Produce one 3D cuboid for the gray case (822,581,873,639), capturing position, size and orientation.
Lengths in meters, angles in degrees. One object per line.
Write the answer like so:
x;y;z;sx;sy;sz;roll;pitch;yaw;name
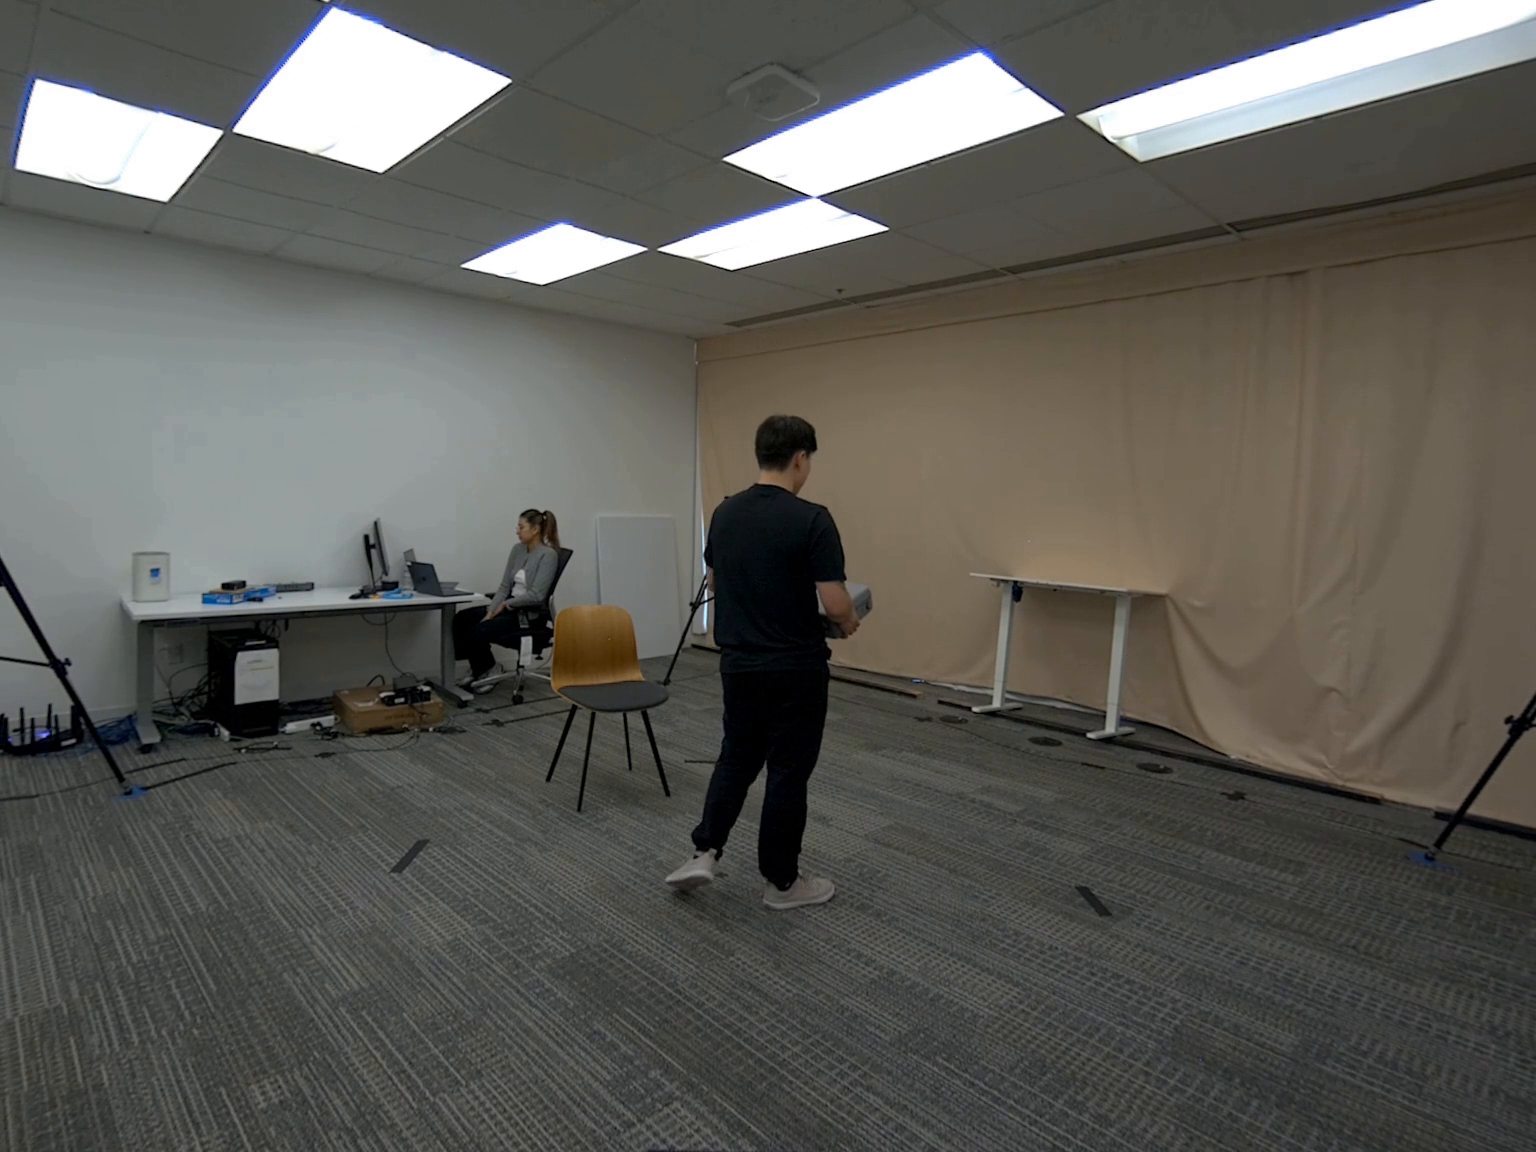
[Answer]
0.214;0.110;3.056;0.263;0.102;0.259;4;27;35;gray case
